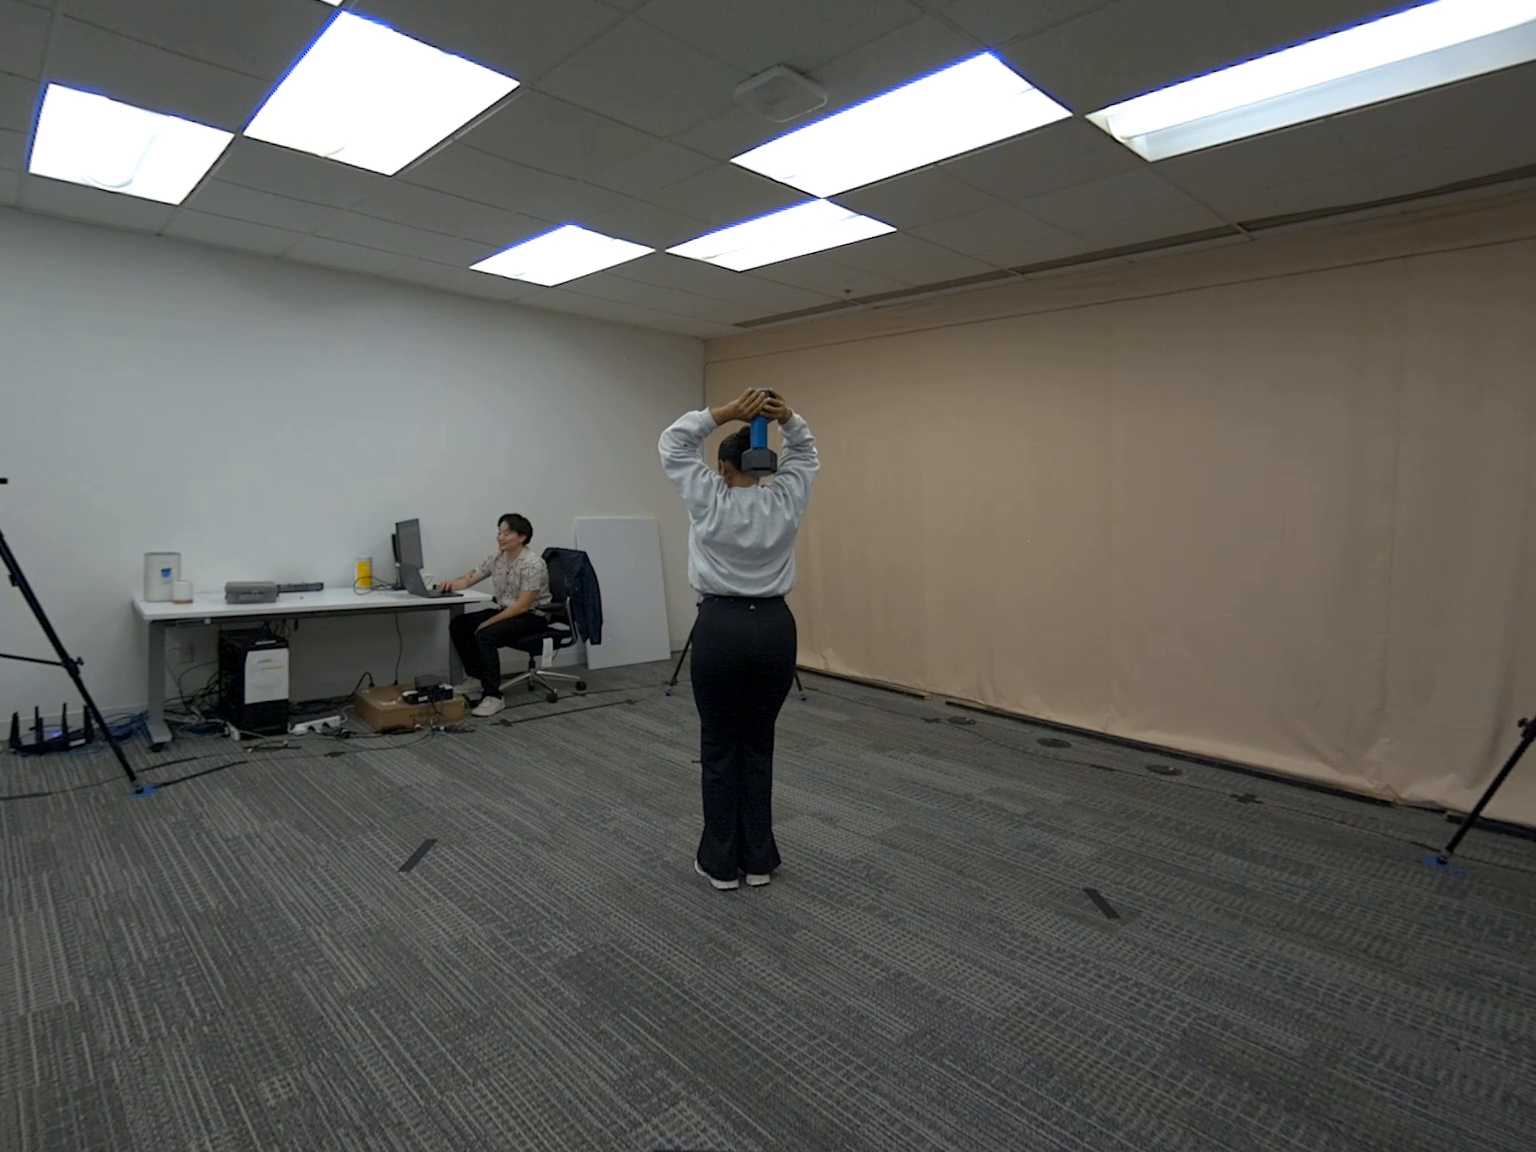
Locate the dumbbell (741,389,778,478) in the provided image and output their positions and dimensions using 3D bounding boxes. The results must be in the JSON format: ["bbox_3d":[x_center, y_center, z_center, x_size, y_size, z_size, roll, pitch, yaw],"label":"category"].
[{"bbox_3d":[-0.044,-0.502,2.903,0.111,0.295,0.120,-3,-10,26],"label":"dumbbell"}]
